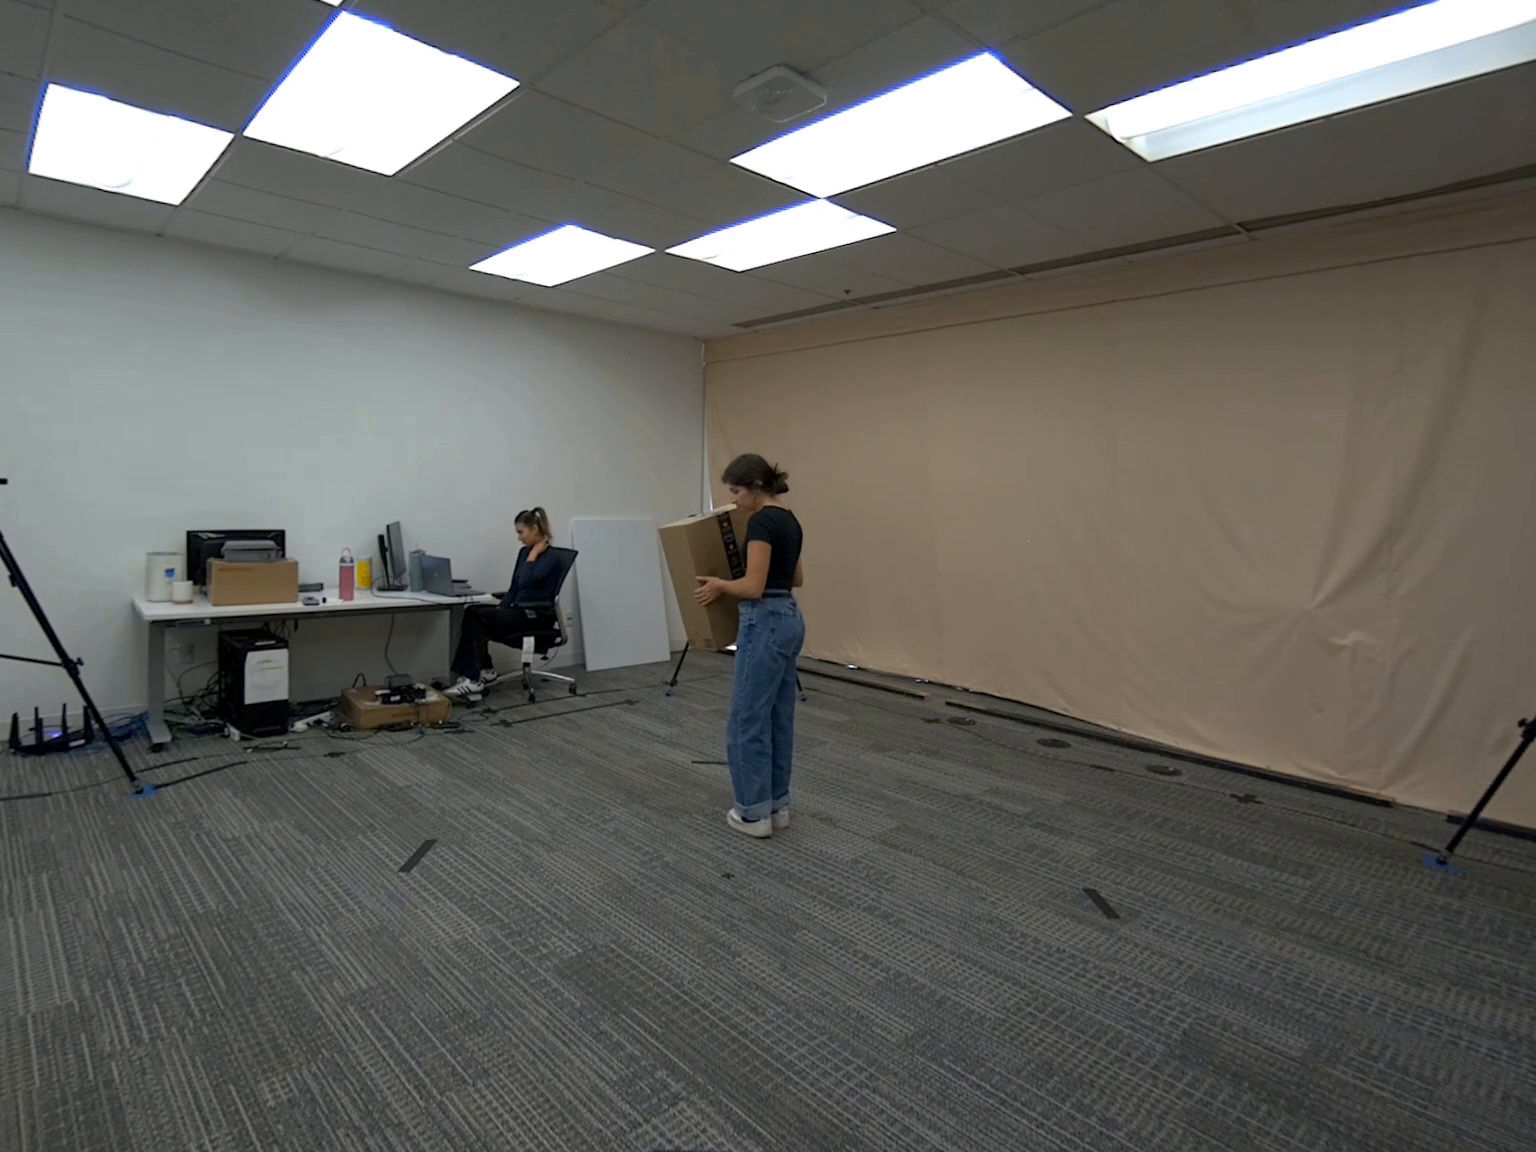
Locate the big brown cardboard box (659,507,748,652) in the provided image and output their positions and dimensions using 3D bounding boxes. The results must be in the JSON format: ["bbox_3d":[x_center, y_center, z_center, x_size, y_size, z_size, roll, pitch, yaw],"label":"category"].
[{"bbox_3d":[-0.212,-0.012,3.797,0.411,0.586,0.238,-19,8,-37],"label":"big brown cardboard box"}]
